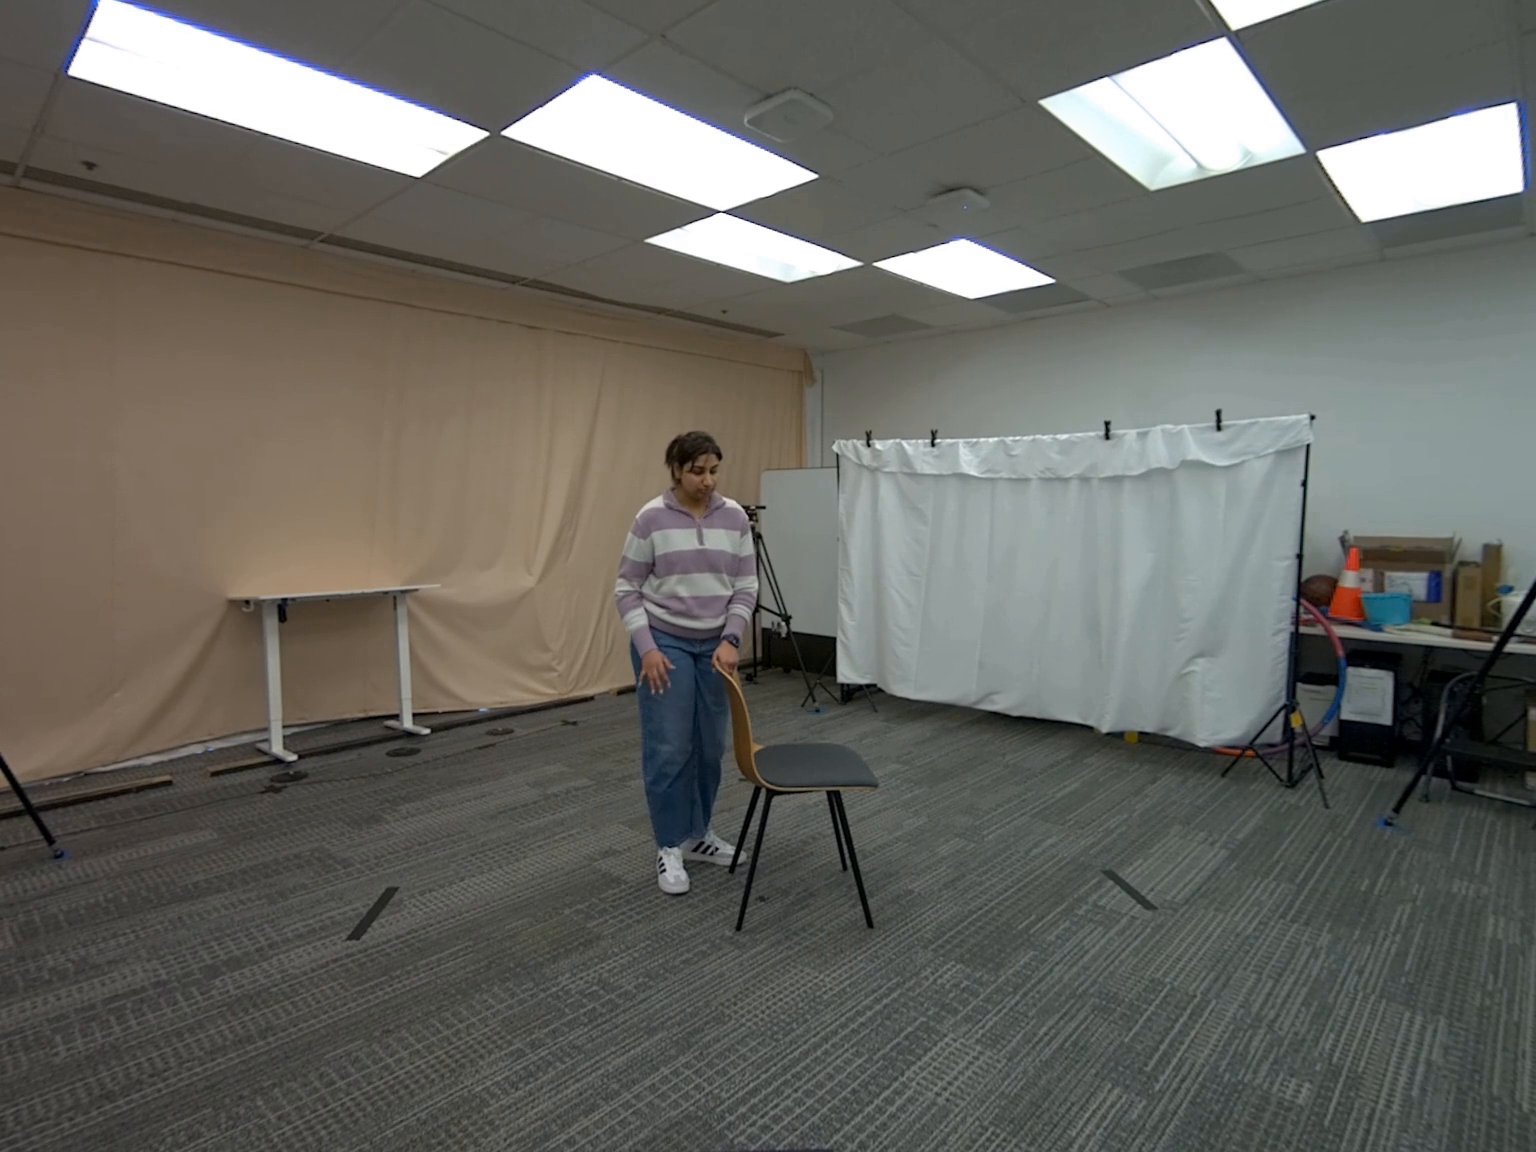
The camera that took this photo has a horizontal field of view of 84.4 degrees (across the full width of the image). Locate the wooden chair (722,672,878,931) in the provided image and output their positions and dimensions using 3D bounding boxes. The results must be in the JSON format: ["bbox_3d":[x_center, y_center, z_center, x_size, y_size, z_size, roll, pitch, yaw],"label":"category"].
[{"bbox_3d":[0.110,0.716,2.951,0.521,0.876,0.481,-4,3,-5],"label":"wooden chair"}]
